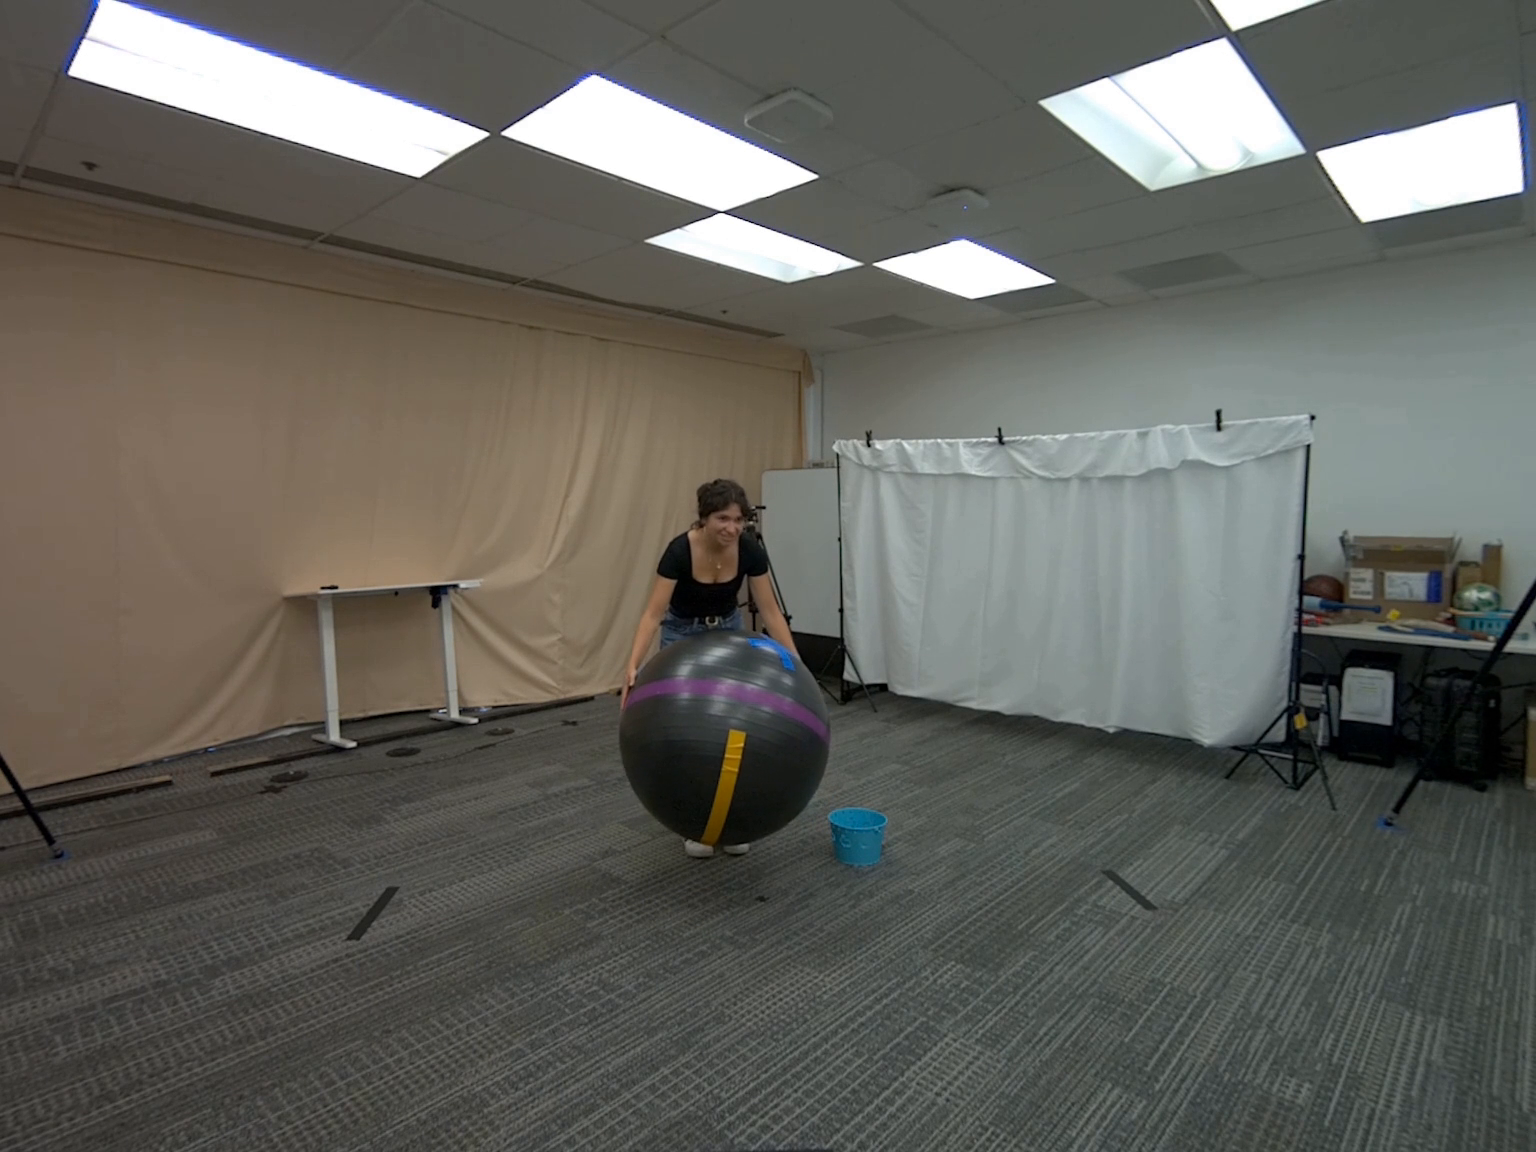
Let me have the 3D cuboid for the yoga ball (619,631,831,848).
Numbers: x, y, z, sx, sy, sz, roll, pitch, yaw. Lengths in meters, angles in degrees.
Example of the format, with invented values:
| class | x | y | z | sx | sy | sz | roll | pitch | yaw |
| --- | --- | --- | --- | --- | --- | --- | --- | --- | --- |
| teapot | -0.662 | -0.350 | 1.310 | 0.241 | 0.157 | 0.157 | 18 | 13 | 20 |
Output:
| class | x | y | z | sx | sy | sz | roll | pitch | yaw |
| --- | --- | --- | --- | --- | --- | --- | --- | --- | --- |
| yoga ball | -0.159 | 0.581 | 3.016 | 0.757 | 0.756 | 0.760 | 0 | 4 | -2 |
